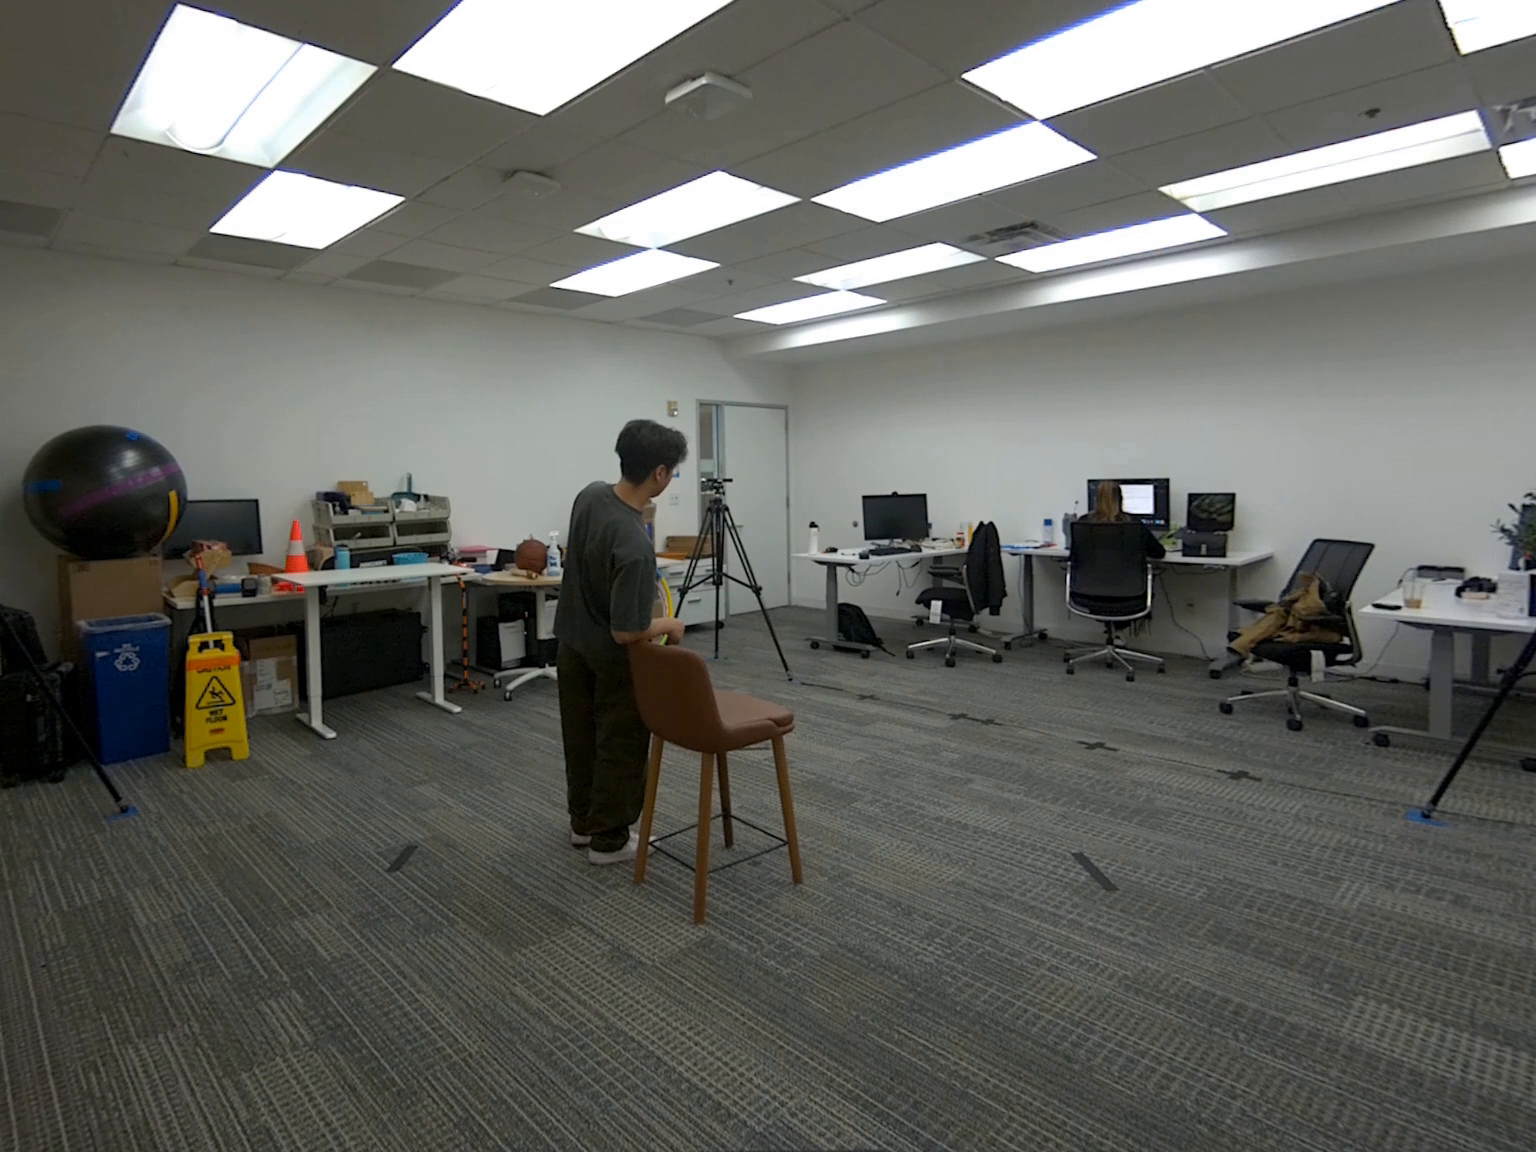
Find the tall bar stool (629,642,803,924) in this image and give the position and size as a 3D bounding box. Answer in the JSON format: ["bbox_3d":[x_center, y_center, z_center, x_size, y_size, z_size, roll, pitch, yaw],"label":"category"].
[{"bbox_3d":[-0.186,0.630,2.930,0.456,0.885,0.470,-7,7,-40],"label":"tall bar stool"}]
